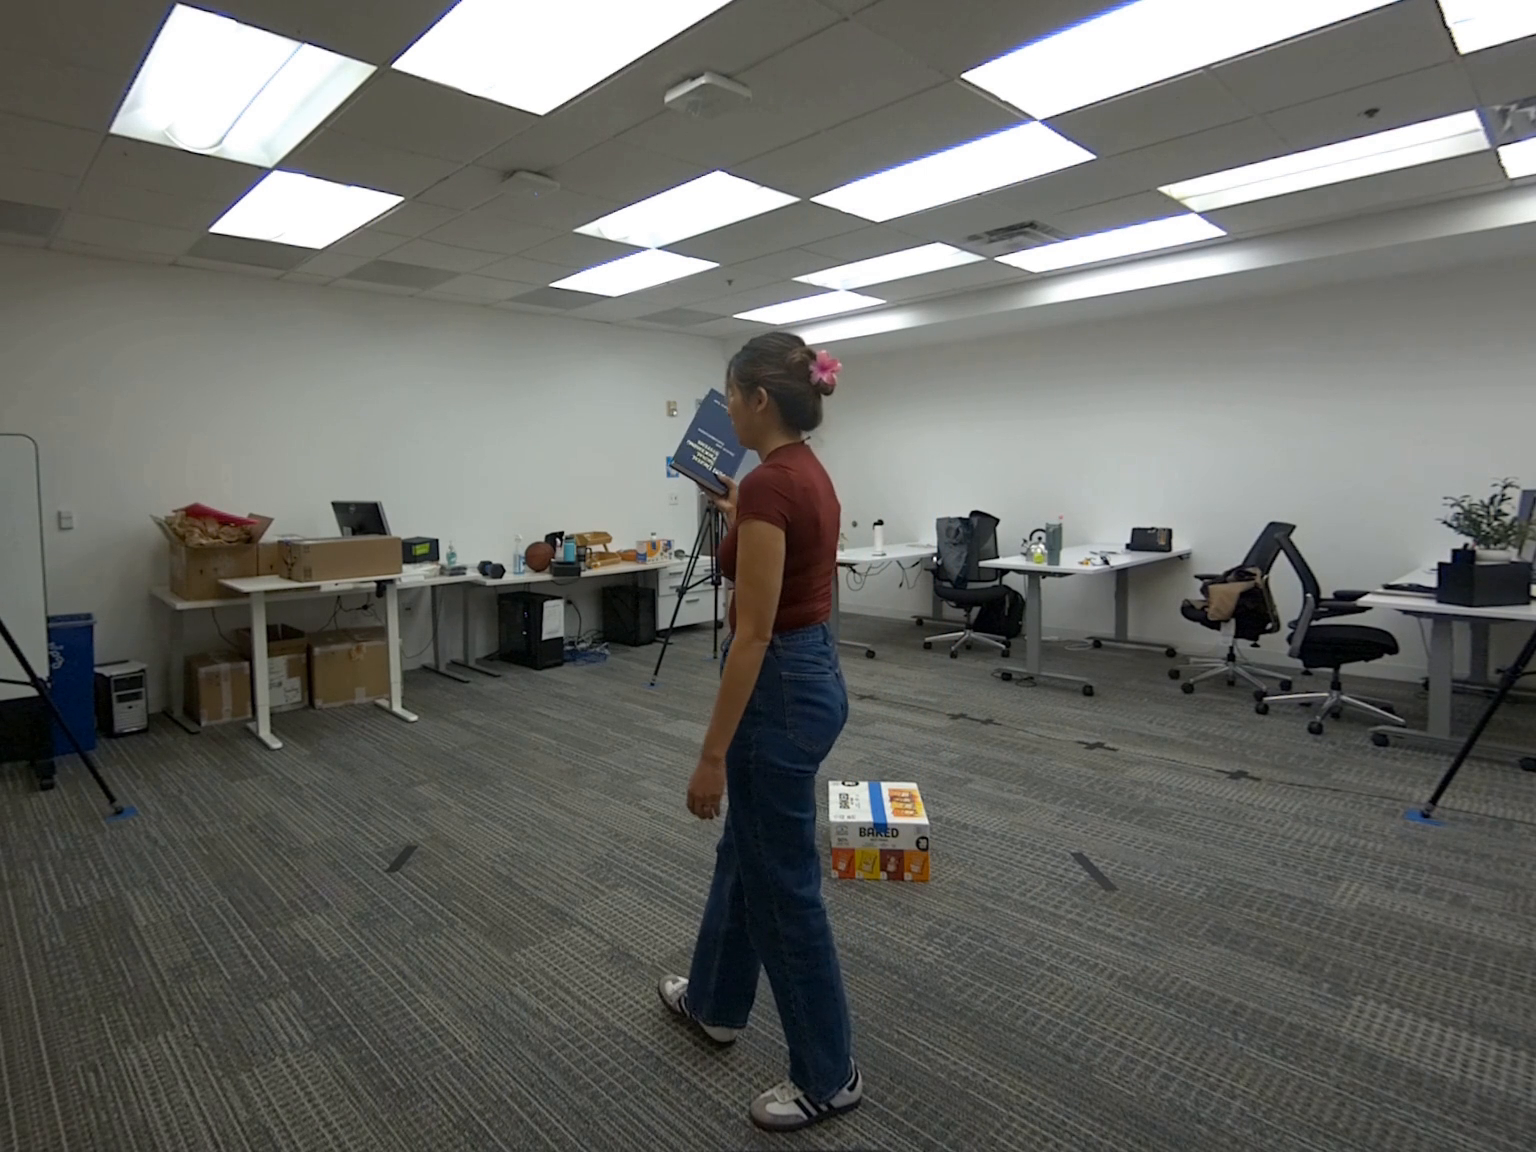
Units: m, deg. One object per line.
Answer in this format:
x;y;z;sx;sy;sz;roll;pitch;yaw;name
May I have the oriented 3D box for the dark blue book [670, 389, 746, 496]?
-0.135;-0.353;2.250;0.161;0.247;0.045;28;-22;-9;dark blue book
